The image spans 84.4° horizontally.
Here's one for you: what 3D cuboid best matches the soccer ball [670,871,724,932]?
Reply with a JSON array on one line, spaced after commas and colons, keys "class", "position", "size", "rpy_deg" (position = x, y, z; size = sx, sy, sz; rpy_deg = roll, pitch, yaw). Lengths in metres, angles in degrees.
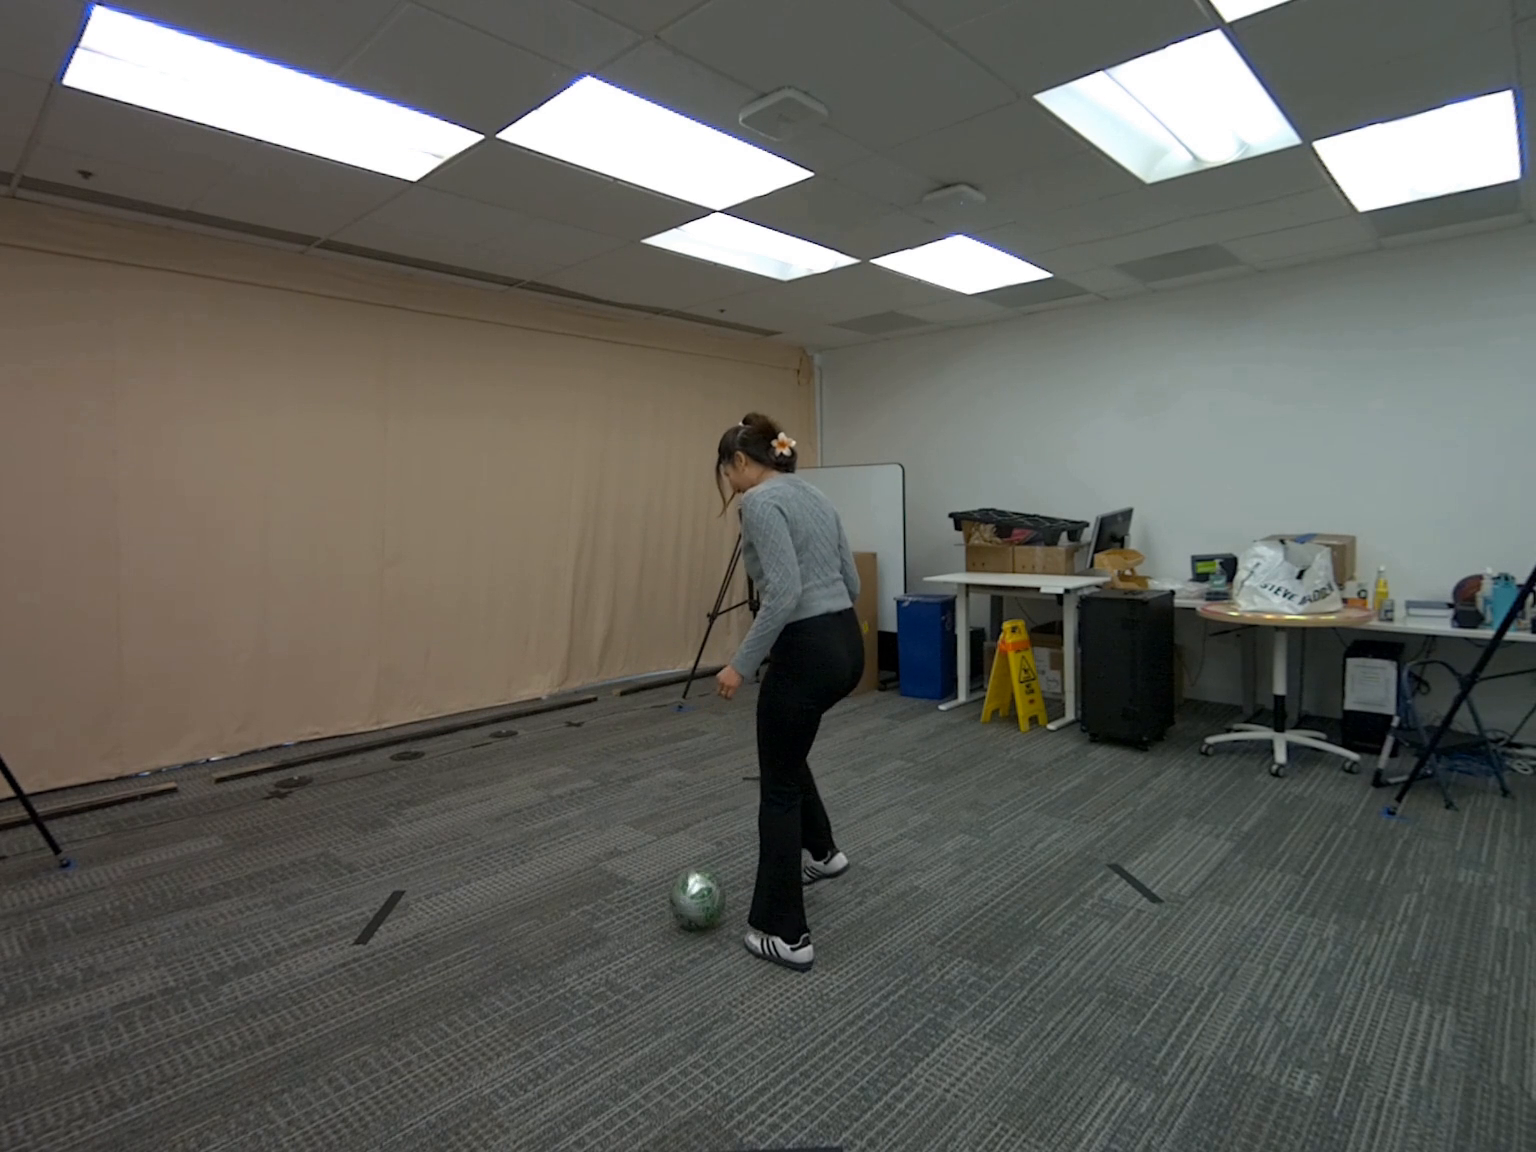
[{"class": "soccer ball", "position": [-0.233, 1.069, 2.786], "size": [0.187, 0.187, 0.188], "rpy_deg": [-1, 4, -2]}]
